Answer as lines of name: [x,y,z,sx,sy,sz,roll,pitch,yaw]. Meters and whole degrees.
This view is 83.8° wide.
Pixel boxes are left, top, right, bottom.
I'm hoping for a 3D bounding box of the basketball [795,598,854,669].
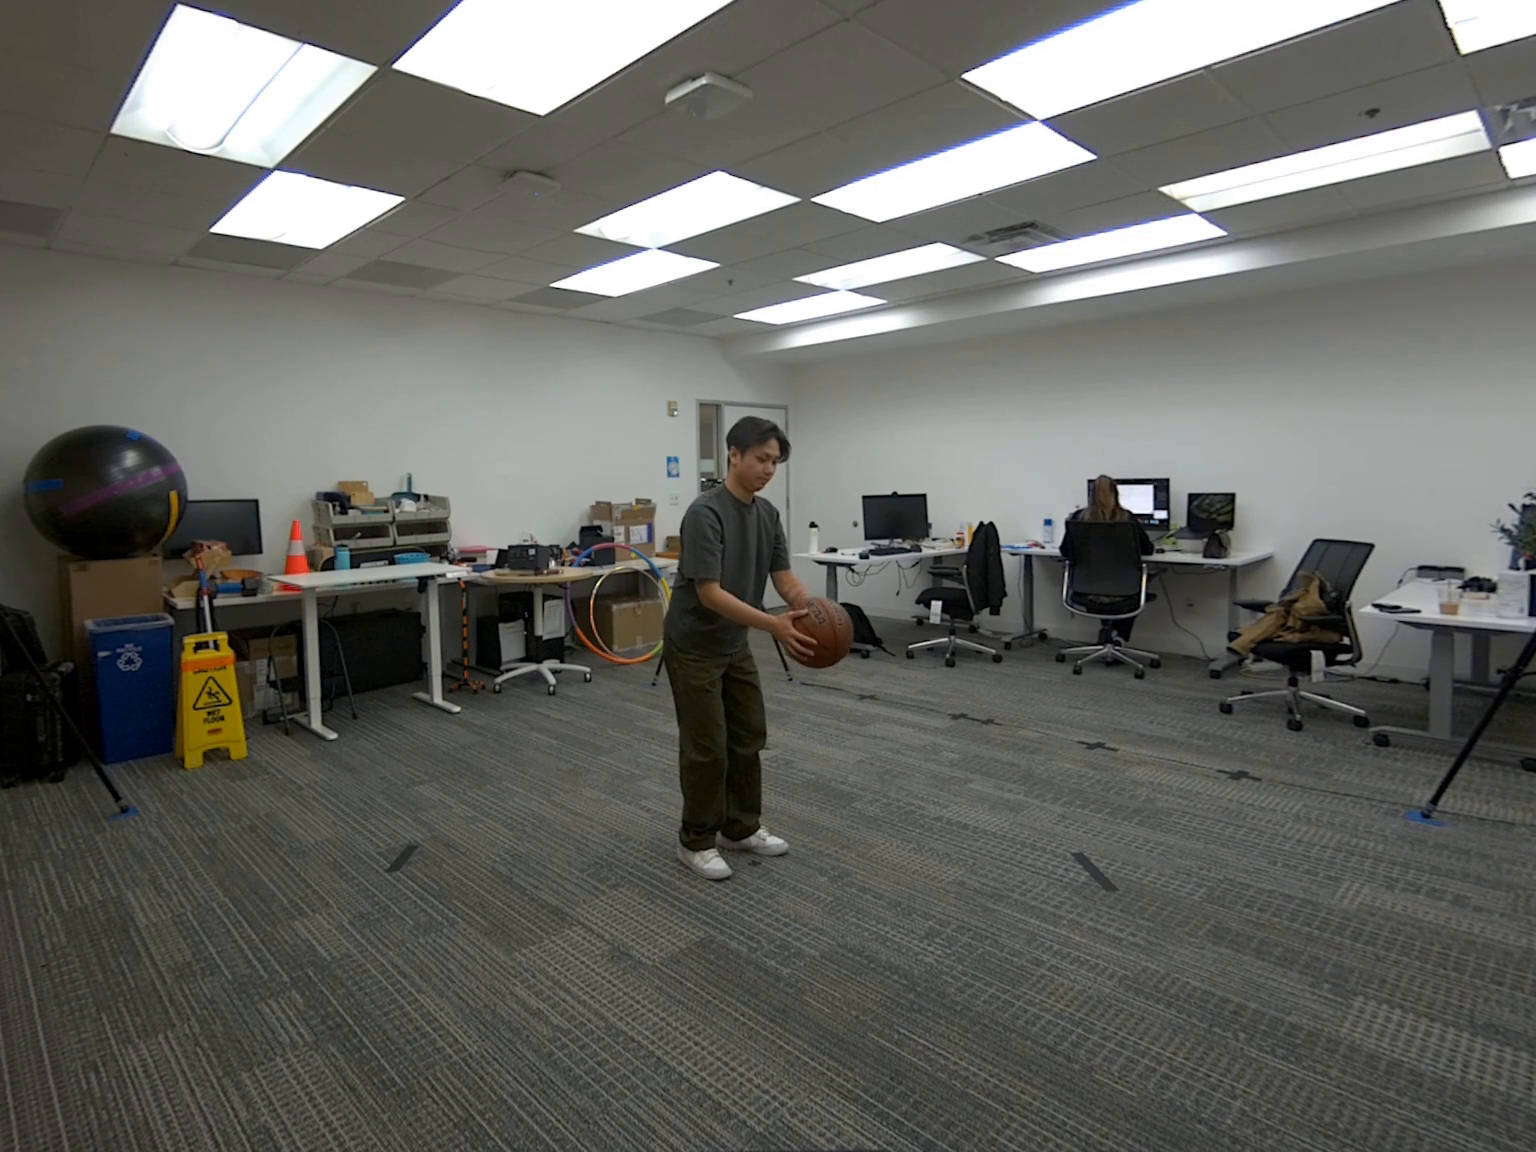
basketball: [0.166,0.189,2.843,0.236,0.235,0.237,-1,5,-2]
